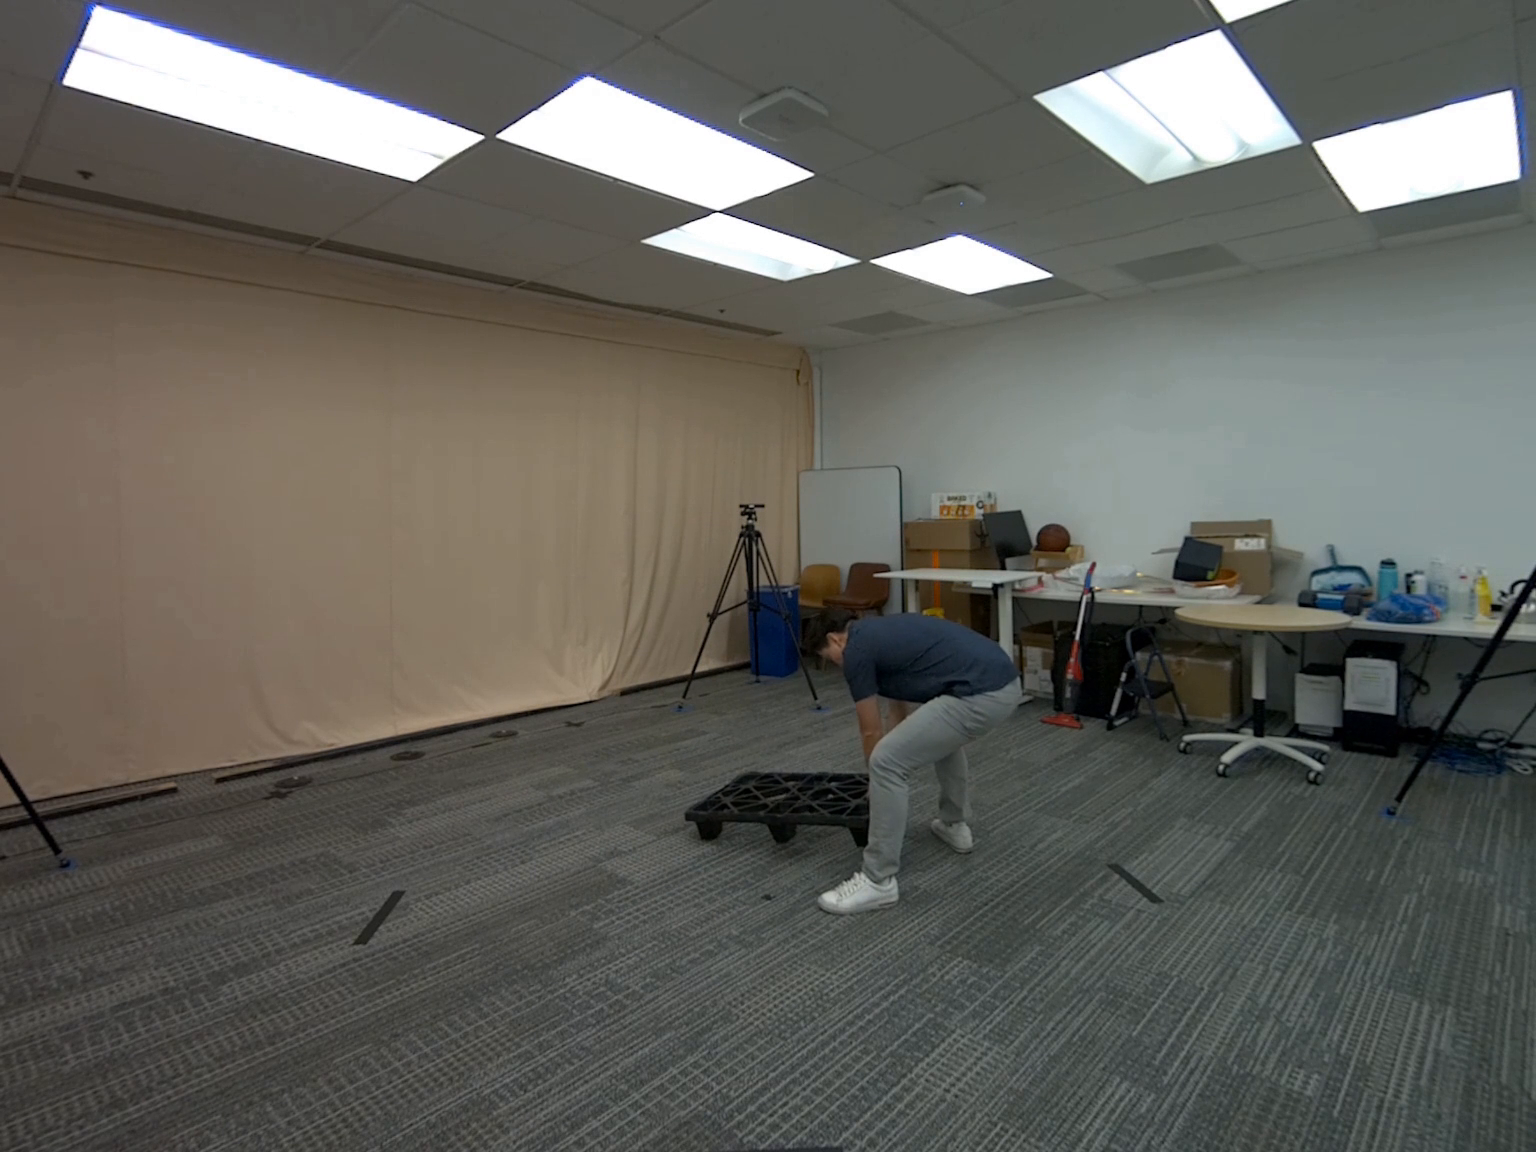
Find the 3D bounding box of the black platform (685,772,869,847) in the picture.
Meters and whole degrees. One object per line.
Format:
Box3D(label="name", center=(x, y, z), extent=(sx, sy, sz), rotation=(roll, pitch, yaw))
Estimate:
Box3D(label="black platform", center=(0.141, 0.981, 3.550), extent=(0.825, 0.143, 0.591), rotation=(-6, 2, 26))
